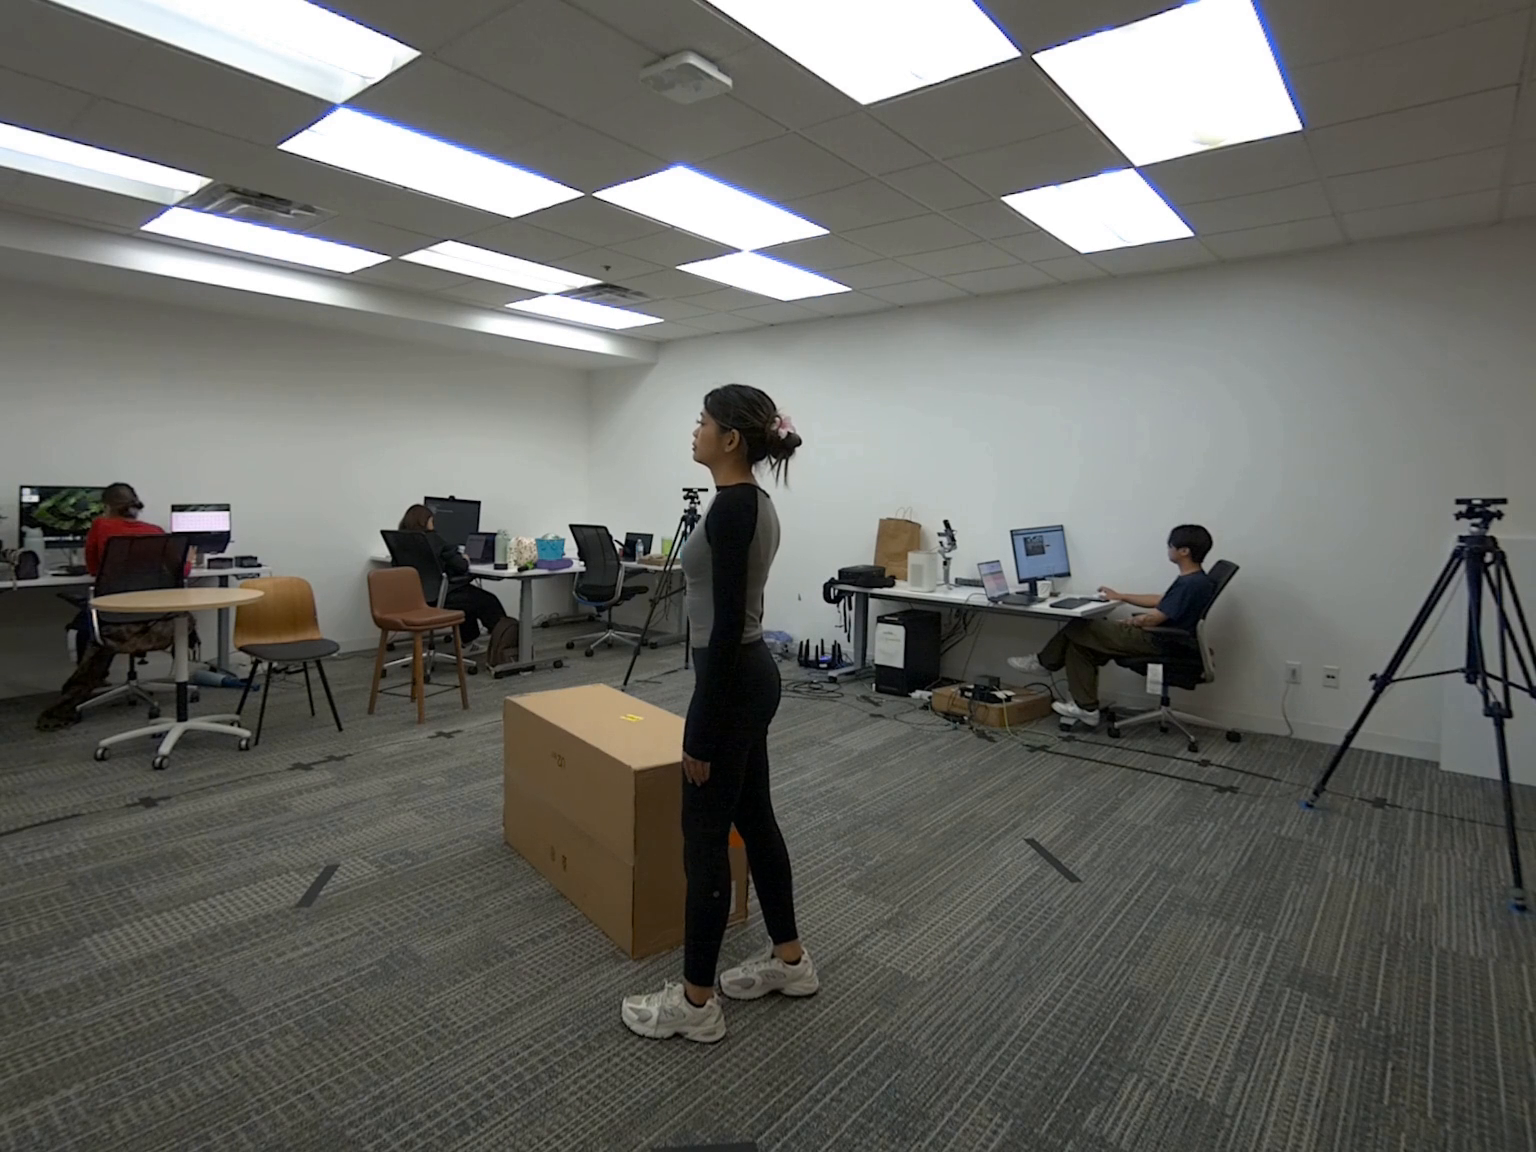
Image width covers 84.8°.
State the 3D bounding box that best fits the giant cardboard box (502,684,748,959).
[{"bbox_3d":[-0.550,0.785,3.011,0.414,0.575,1.060,-2,6,-37],"label":"giant cardboard box"}]
